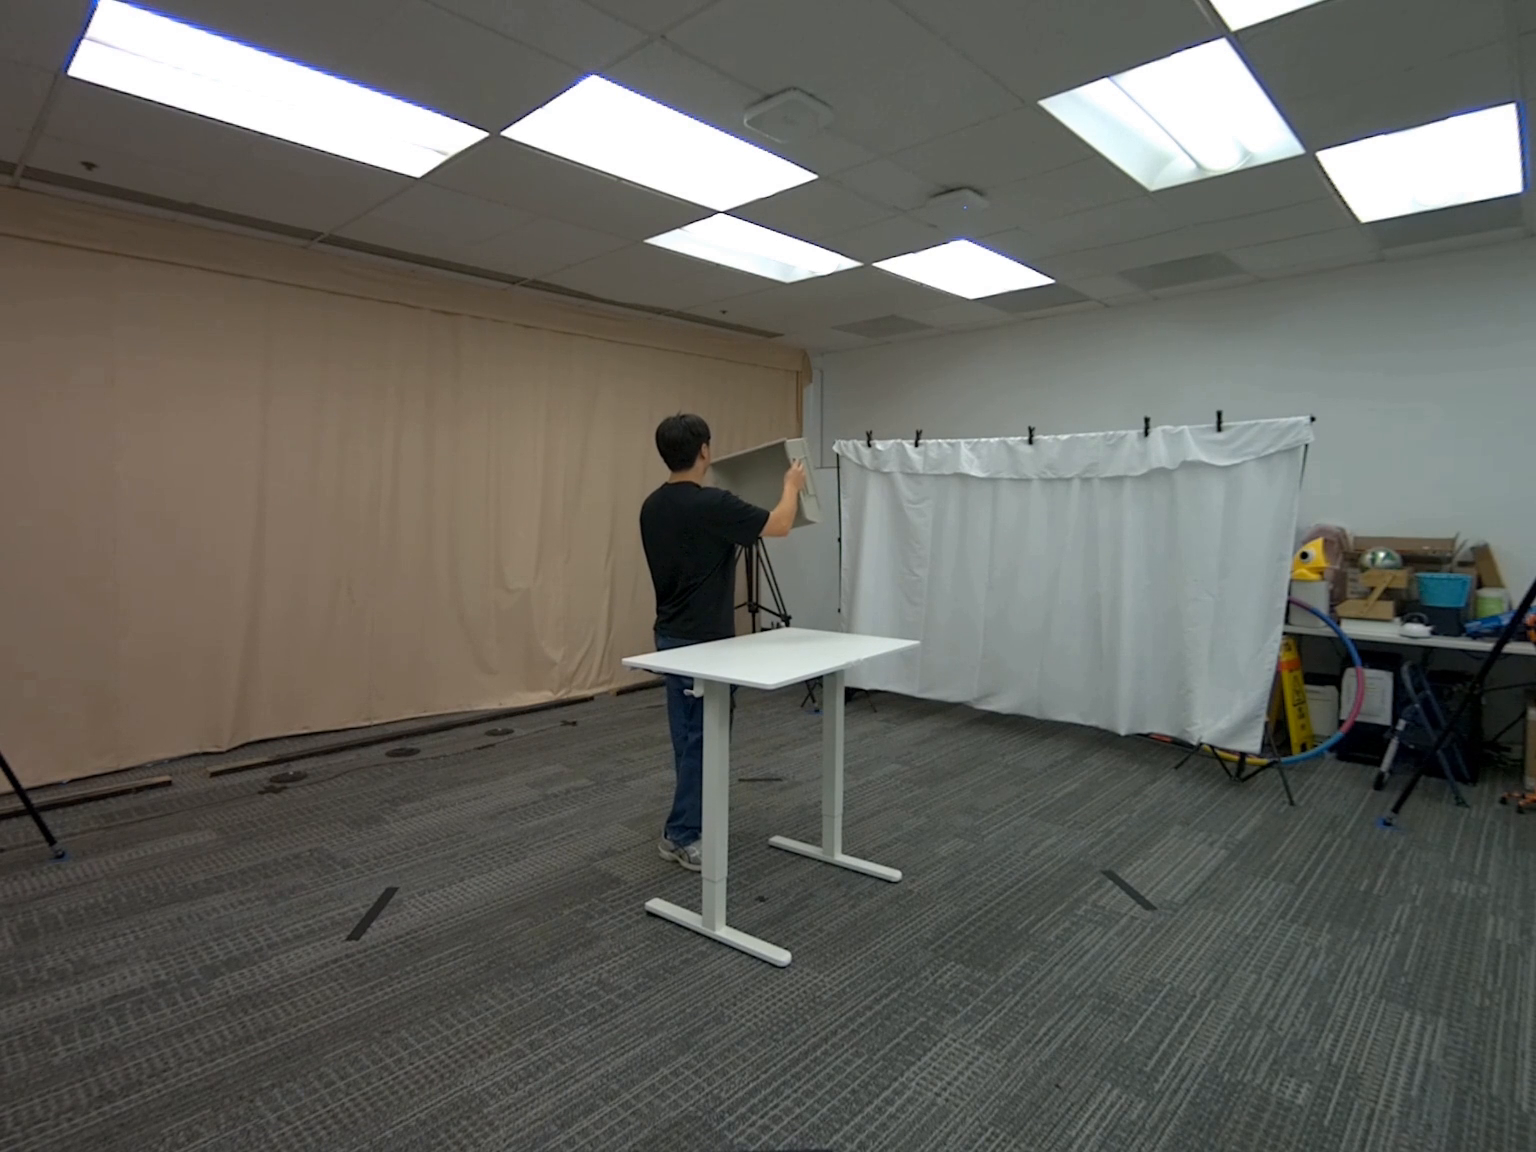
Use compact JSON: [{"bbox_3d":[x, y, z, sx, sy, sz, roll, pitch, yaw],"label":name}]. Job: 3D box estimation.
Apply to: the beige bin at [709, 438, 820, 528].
[{"bbox_3d":[-0.008,-0.365,3.642,0.433,0.376,0.185,-13,4,34],"label":"beige bin"}]
